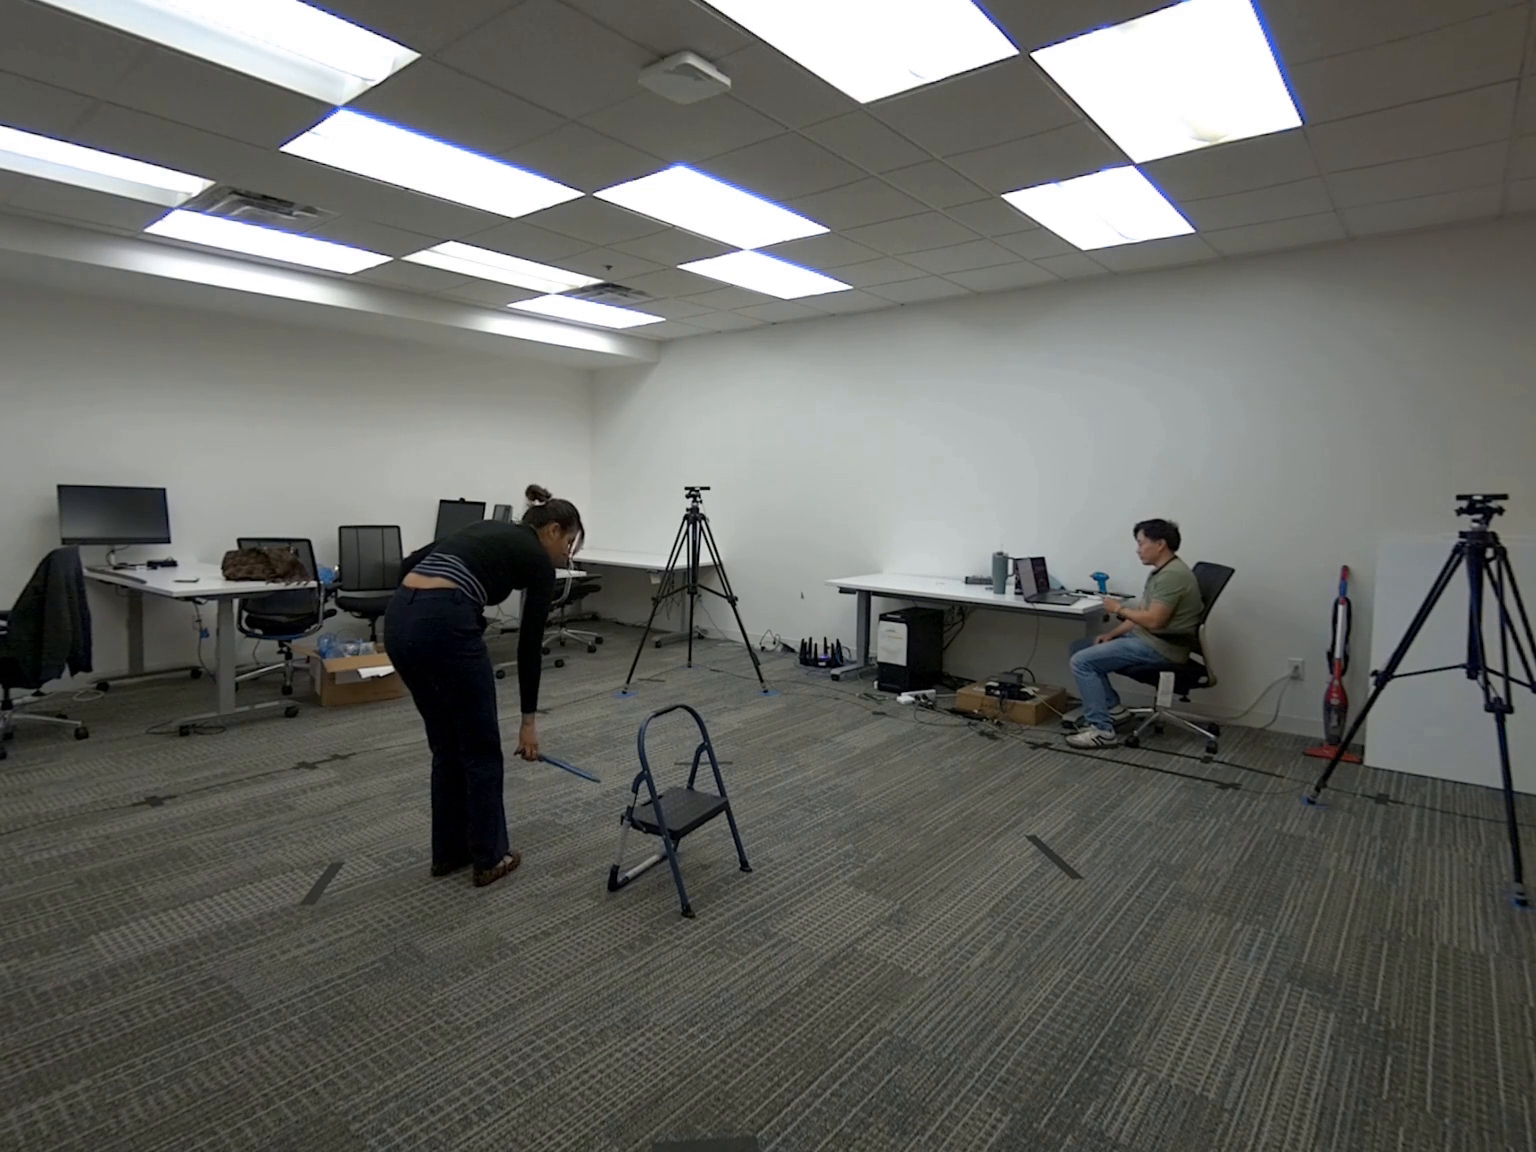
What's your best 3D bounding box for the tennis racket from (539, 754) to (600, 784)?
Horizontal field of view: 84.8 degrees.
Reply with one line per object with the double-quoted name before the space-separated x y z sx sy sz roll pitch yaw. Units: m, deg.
"tennis racket" -0.825 0.717 3.240 0.222 0.032 0.415 15 -15 37
